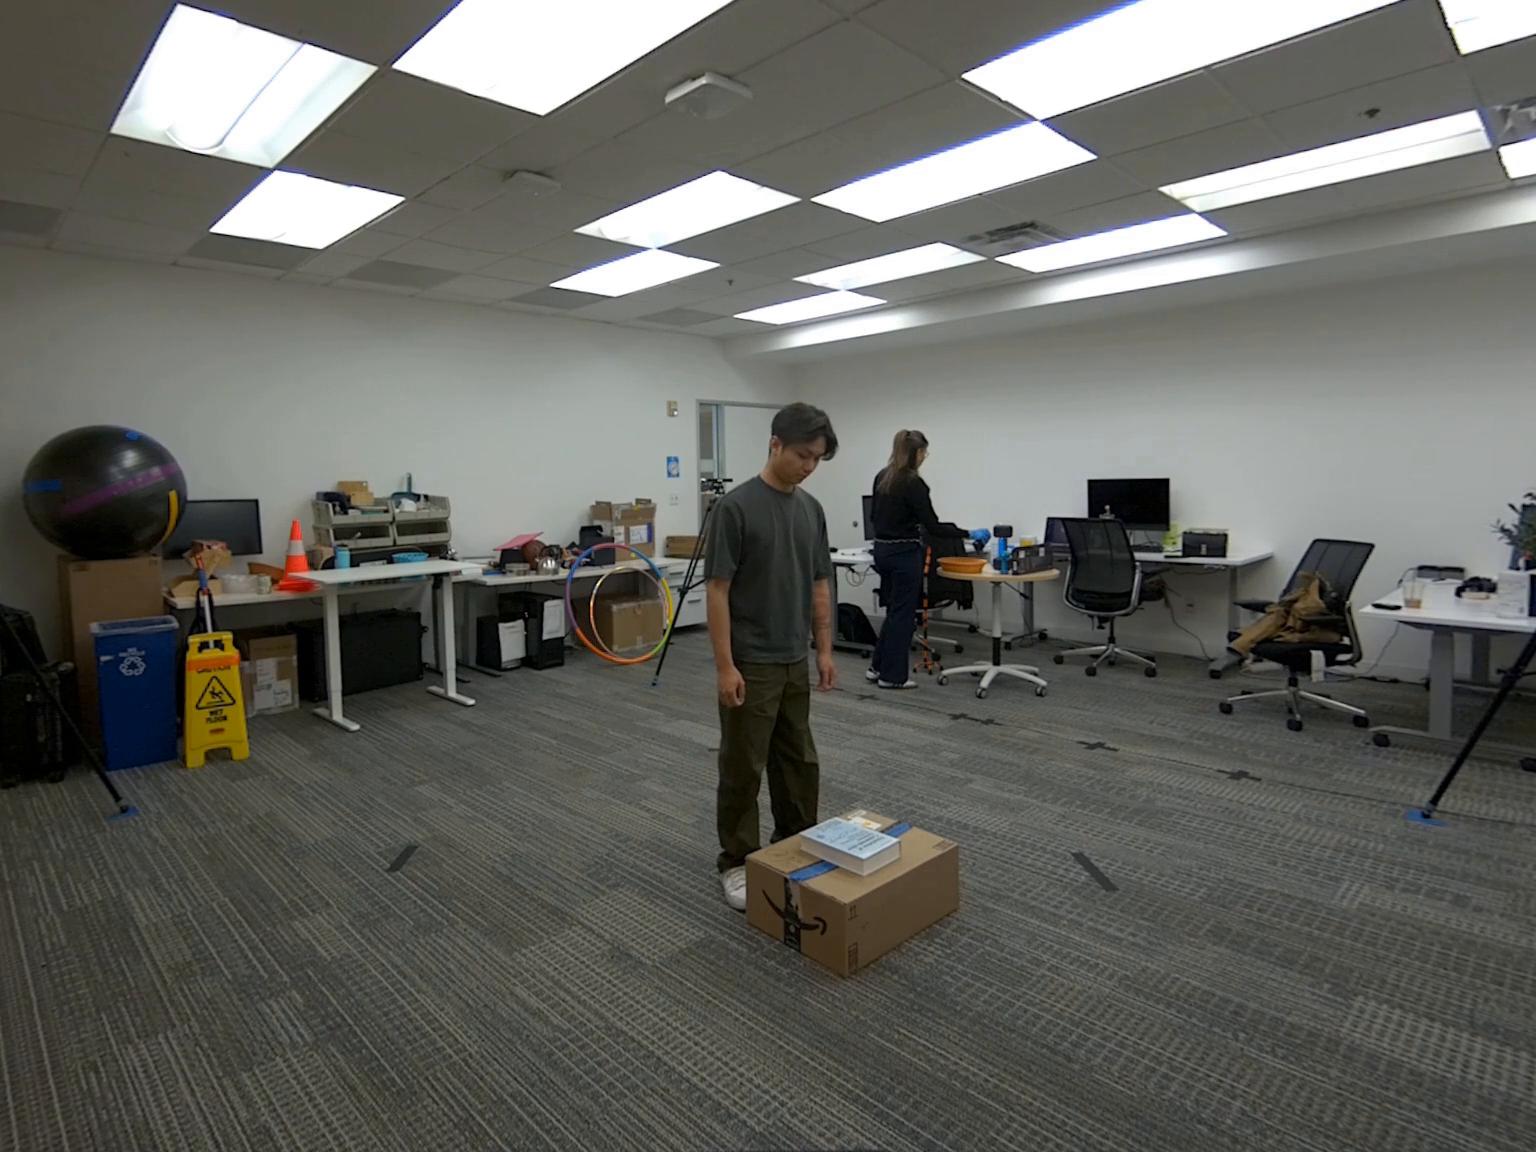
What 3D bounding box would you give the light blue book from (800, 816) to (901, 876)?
[{"bbox_3d":[0.262,0.849,2.694,0.186,0.059,0.269,-8,9,-43],"label":"light blue book"}]
